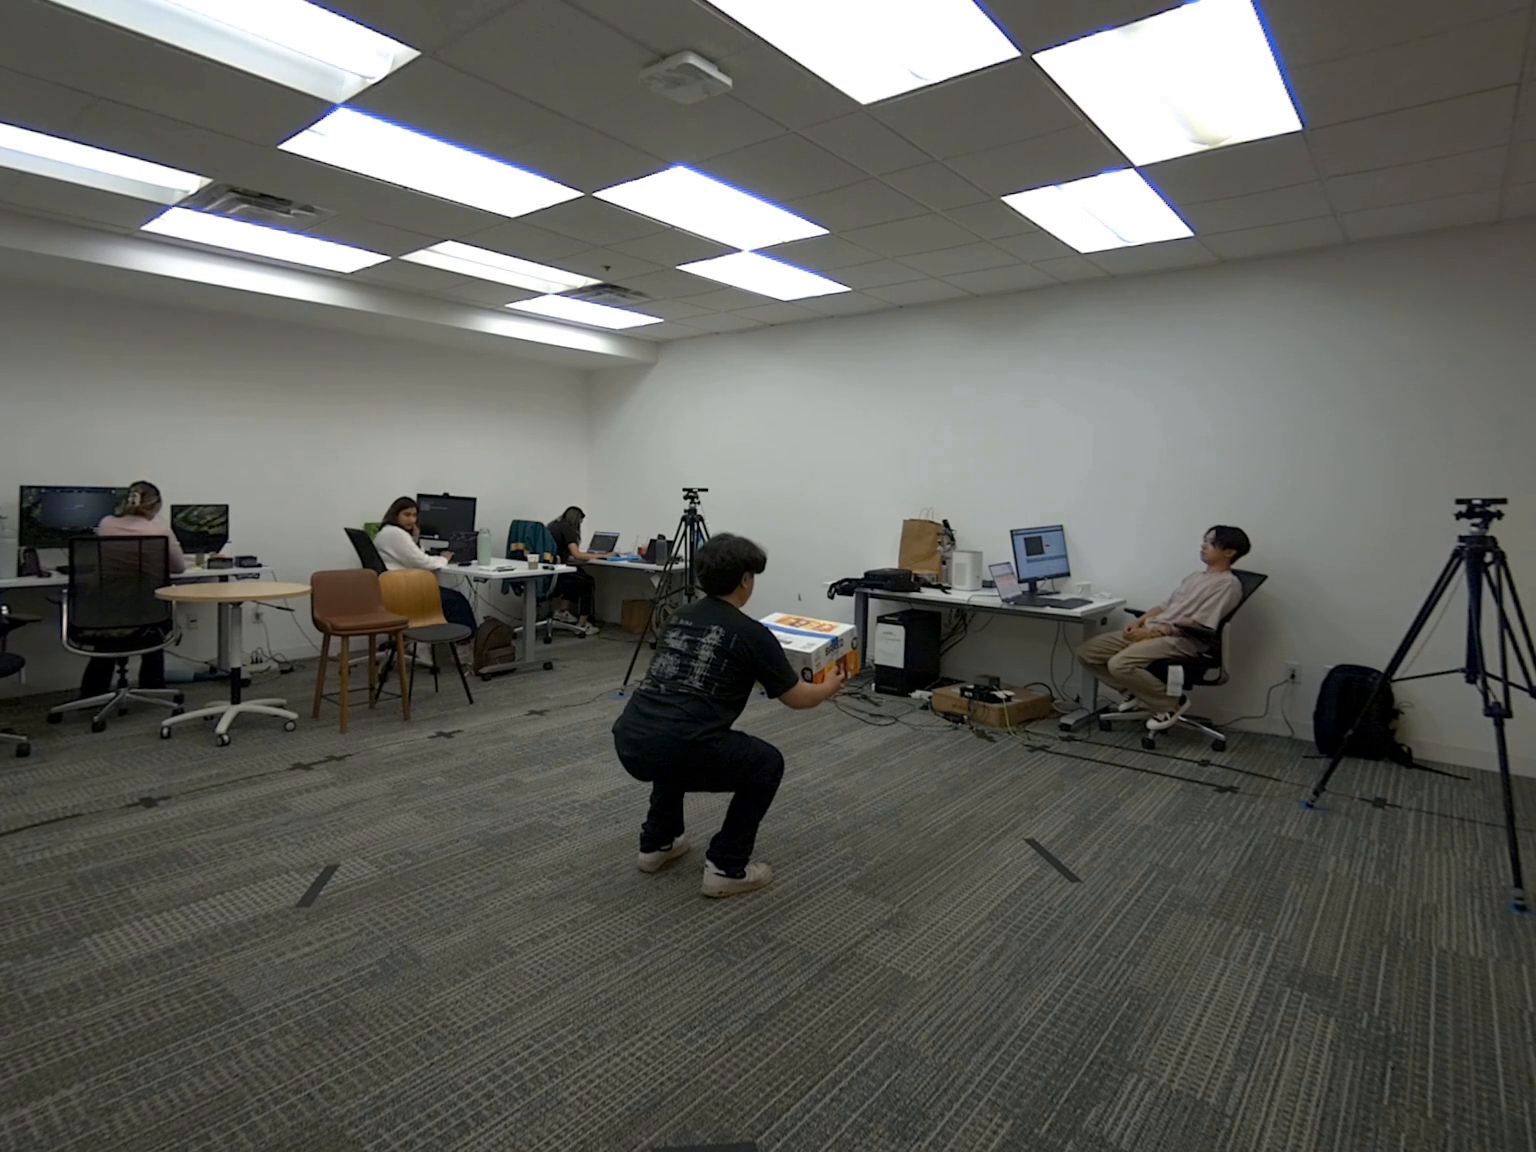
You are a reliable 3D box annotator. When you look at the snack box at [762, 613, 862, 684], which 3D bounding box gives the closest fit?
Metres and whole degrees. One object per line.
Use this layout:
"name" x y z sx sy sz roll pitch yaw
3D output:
"snack box" 0.094 0.319 3.473 0.419 0.203 0.333 7 18 37
